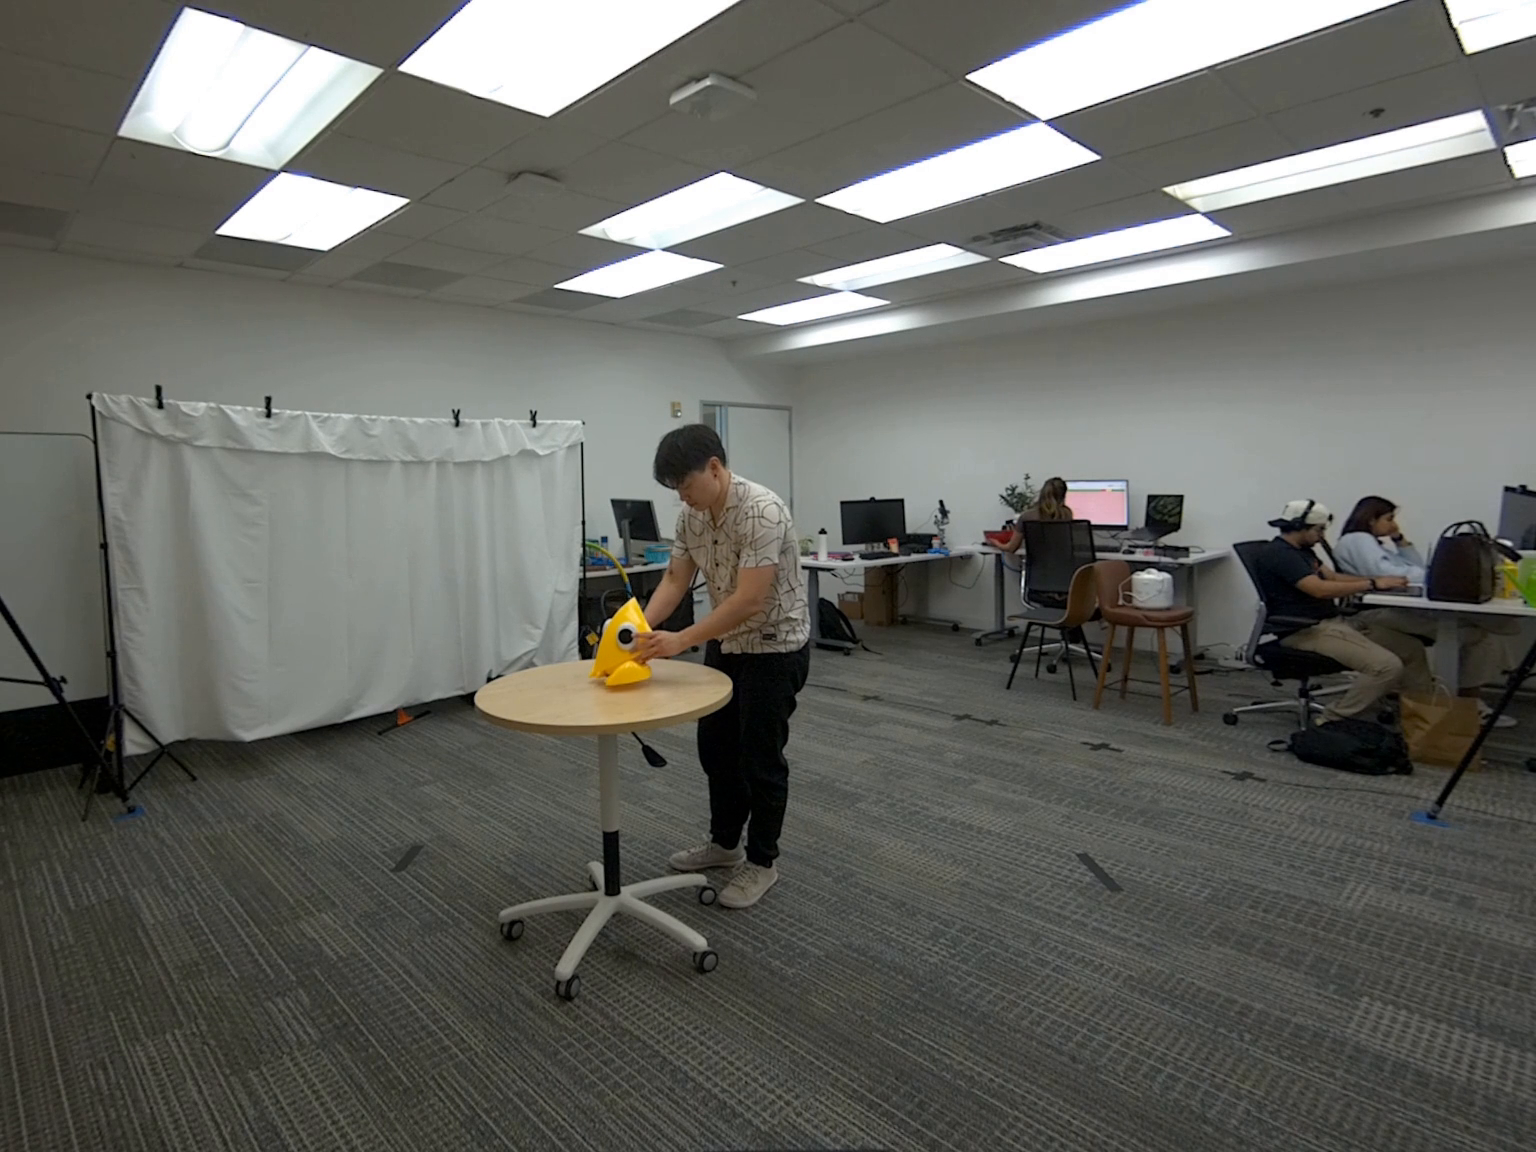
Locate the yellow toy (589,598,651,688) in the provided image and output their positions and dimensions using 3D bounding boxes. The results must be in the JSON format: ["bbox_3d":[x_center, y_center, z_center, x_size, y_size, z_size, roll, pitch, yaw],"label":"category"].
[{"bbox_3d":[-0.450,0.191,2.604,0.189,0.229,0.211,-10,8,-35],"label":"yellow toy"}]
